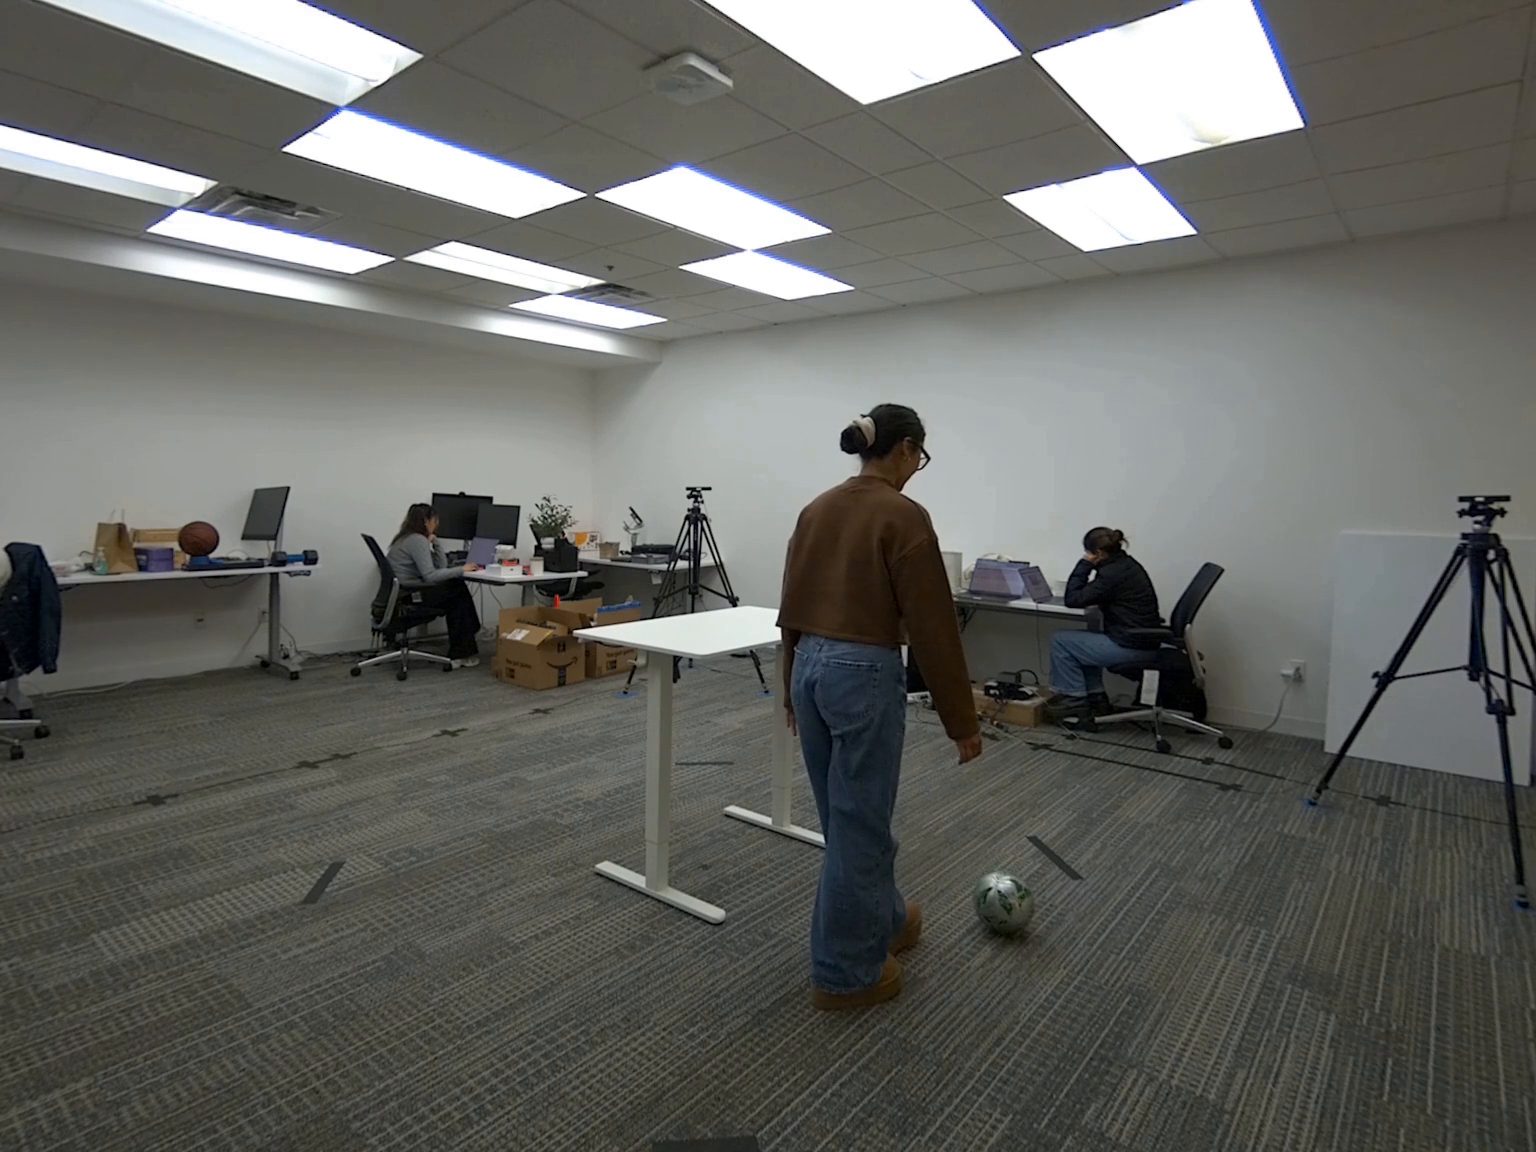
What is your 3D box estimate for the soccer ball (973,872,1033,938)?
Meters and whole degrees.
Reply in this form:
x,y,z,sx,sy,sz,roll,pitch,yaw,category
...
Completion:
x,y,z,sx,sy,sz,roll,pitch,yaw,category
0.742,1.031,2.712,0.187,0.187,0.188,1,4,-2,soccer ball
